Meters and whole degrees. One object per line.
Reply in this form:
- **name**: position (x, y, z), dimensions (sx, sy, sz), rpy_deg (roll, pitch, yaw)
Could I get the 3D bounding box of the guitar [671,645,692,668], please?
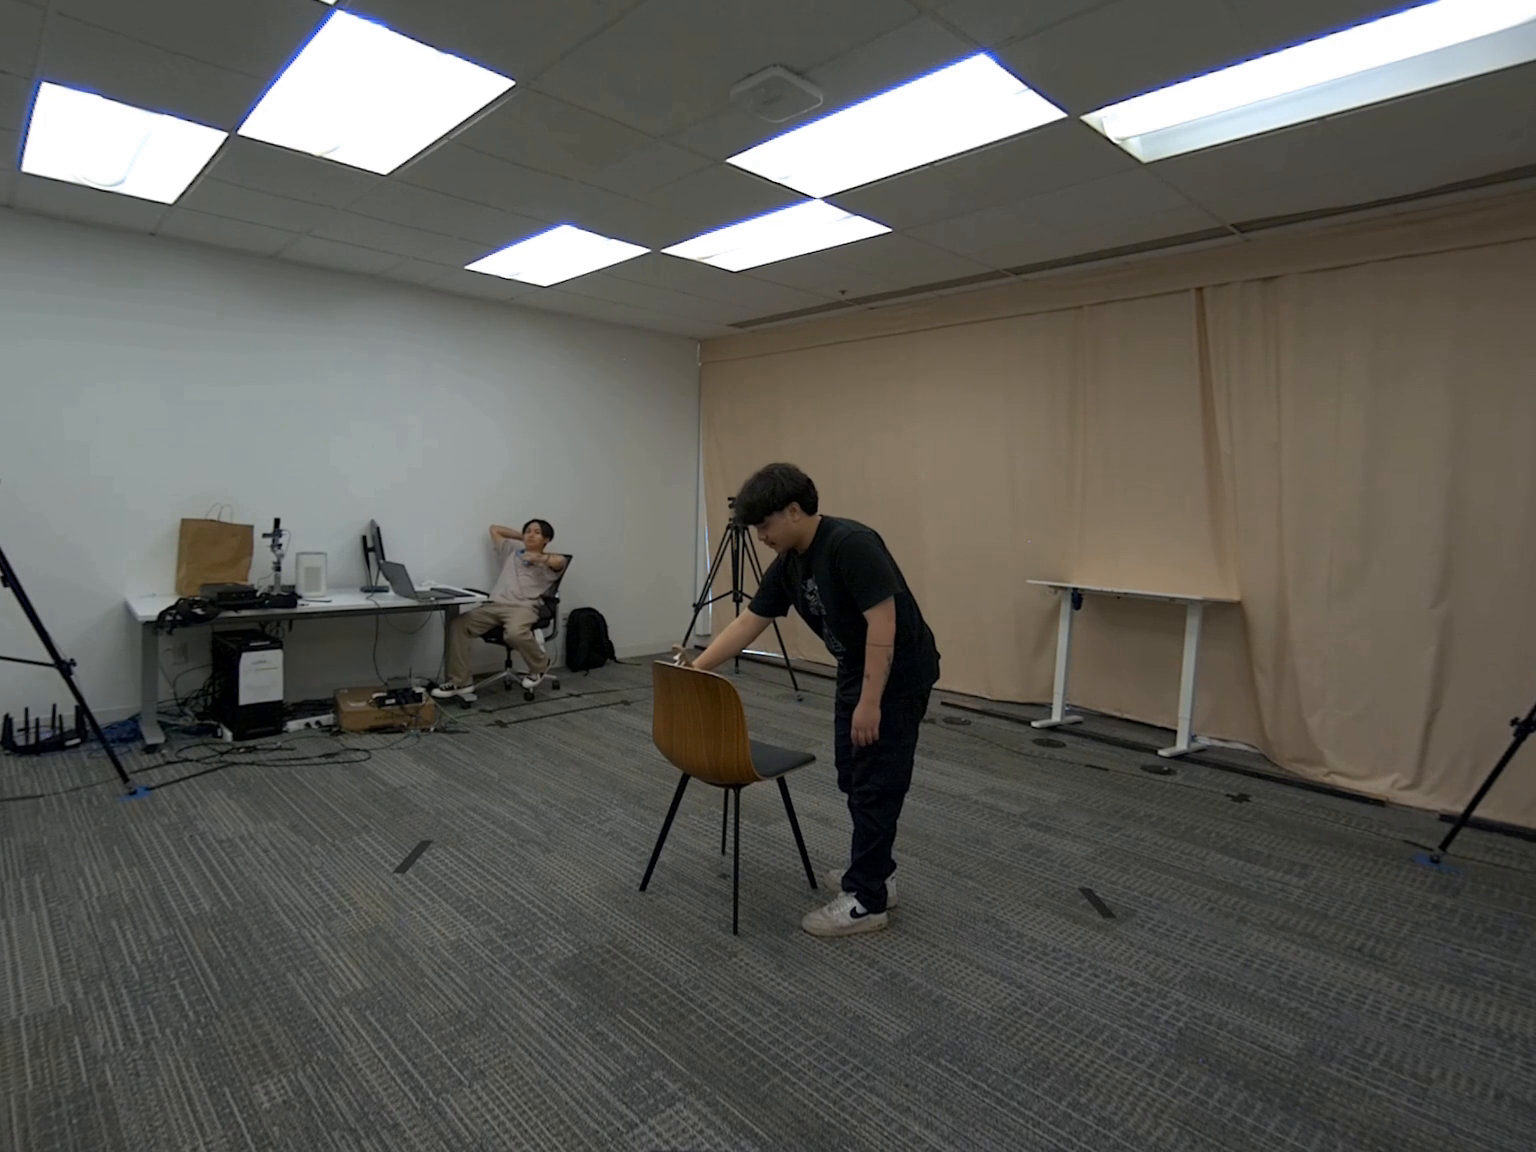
- **guitar**: position (-0.246, 0.435, 2.895), dimensions (0.197, 0.486, 0.071), rpy_deg (-1, 37, 47)
